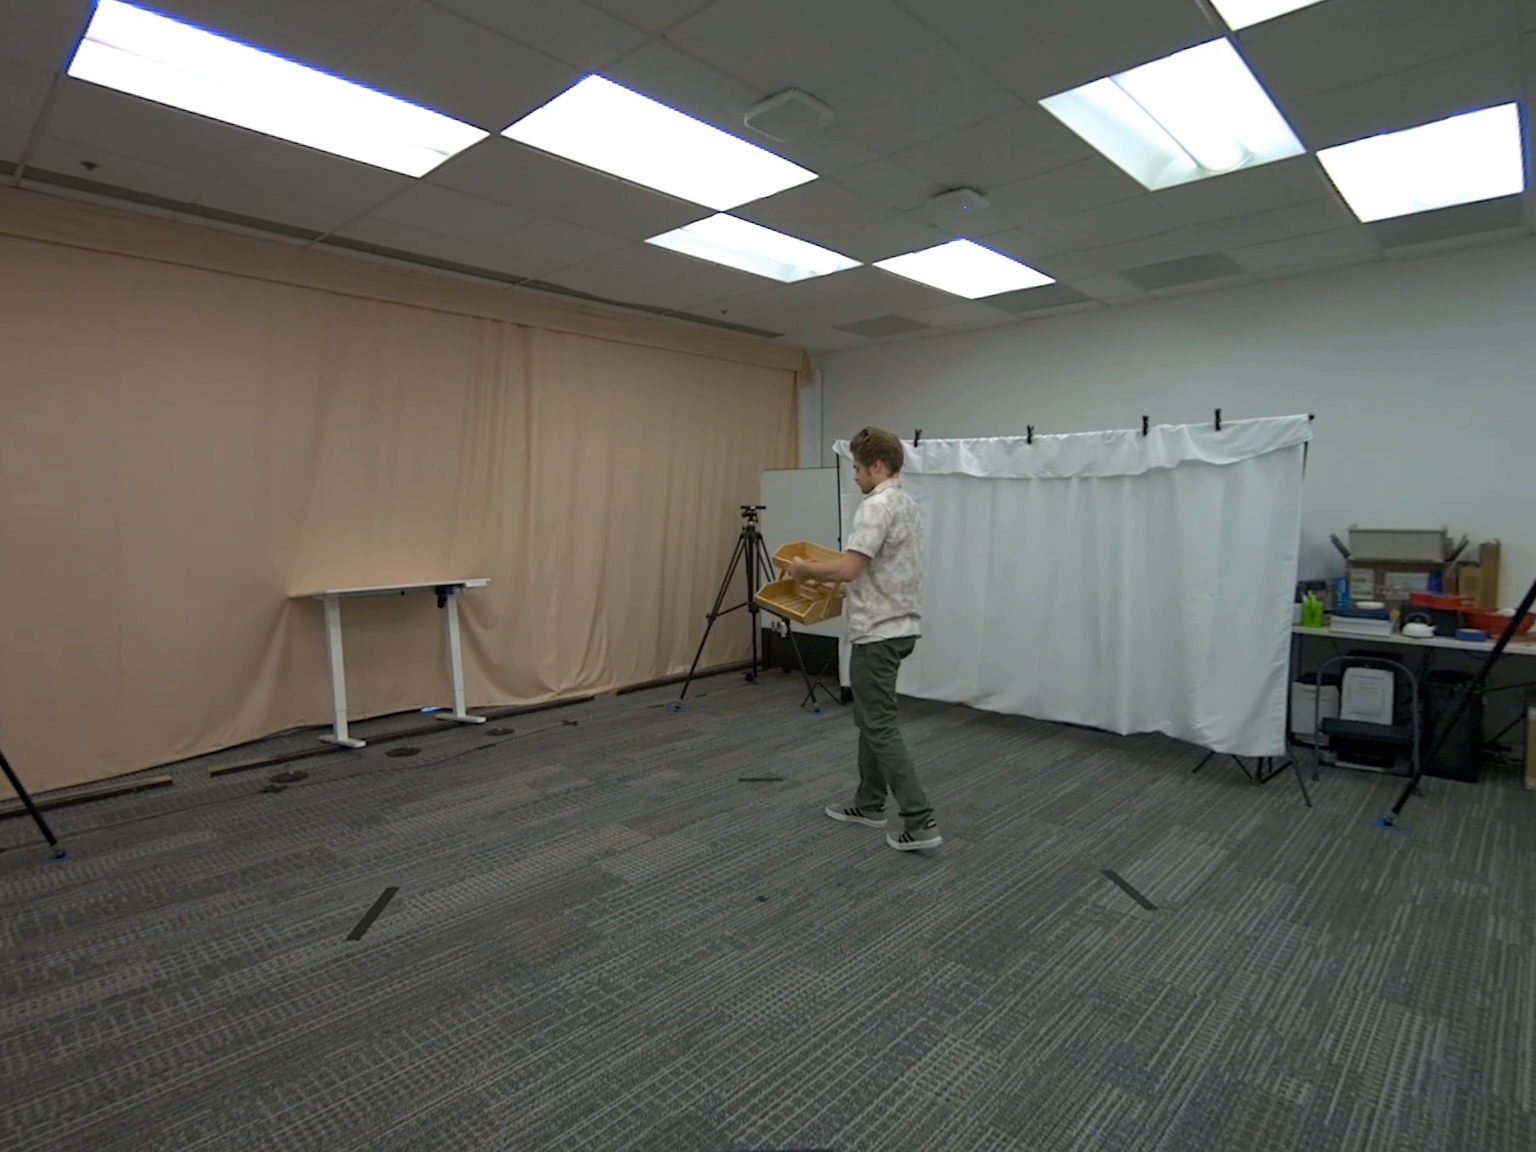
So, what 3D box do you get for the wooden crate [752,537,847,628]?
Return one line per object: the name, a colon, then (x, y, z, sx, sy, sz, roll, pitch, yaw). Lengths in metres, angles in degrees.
wooden crate: (0.161, 0.018, 3.710, 0.293, 0.271, 0.336, -11, 23, -43)
